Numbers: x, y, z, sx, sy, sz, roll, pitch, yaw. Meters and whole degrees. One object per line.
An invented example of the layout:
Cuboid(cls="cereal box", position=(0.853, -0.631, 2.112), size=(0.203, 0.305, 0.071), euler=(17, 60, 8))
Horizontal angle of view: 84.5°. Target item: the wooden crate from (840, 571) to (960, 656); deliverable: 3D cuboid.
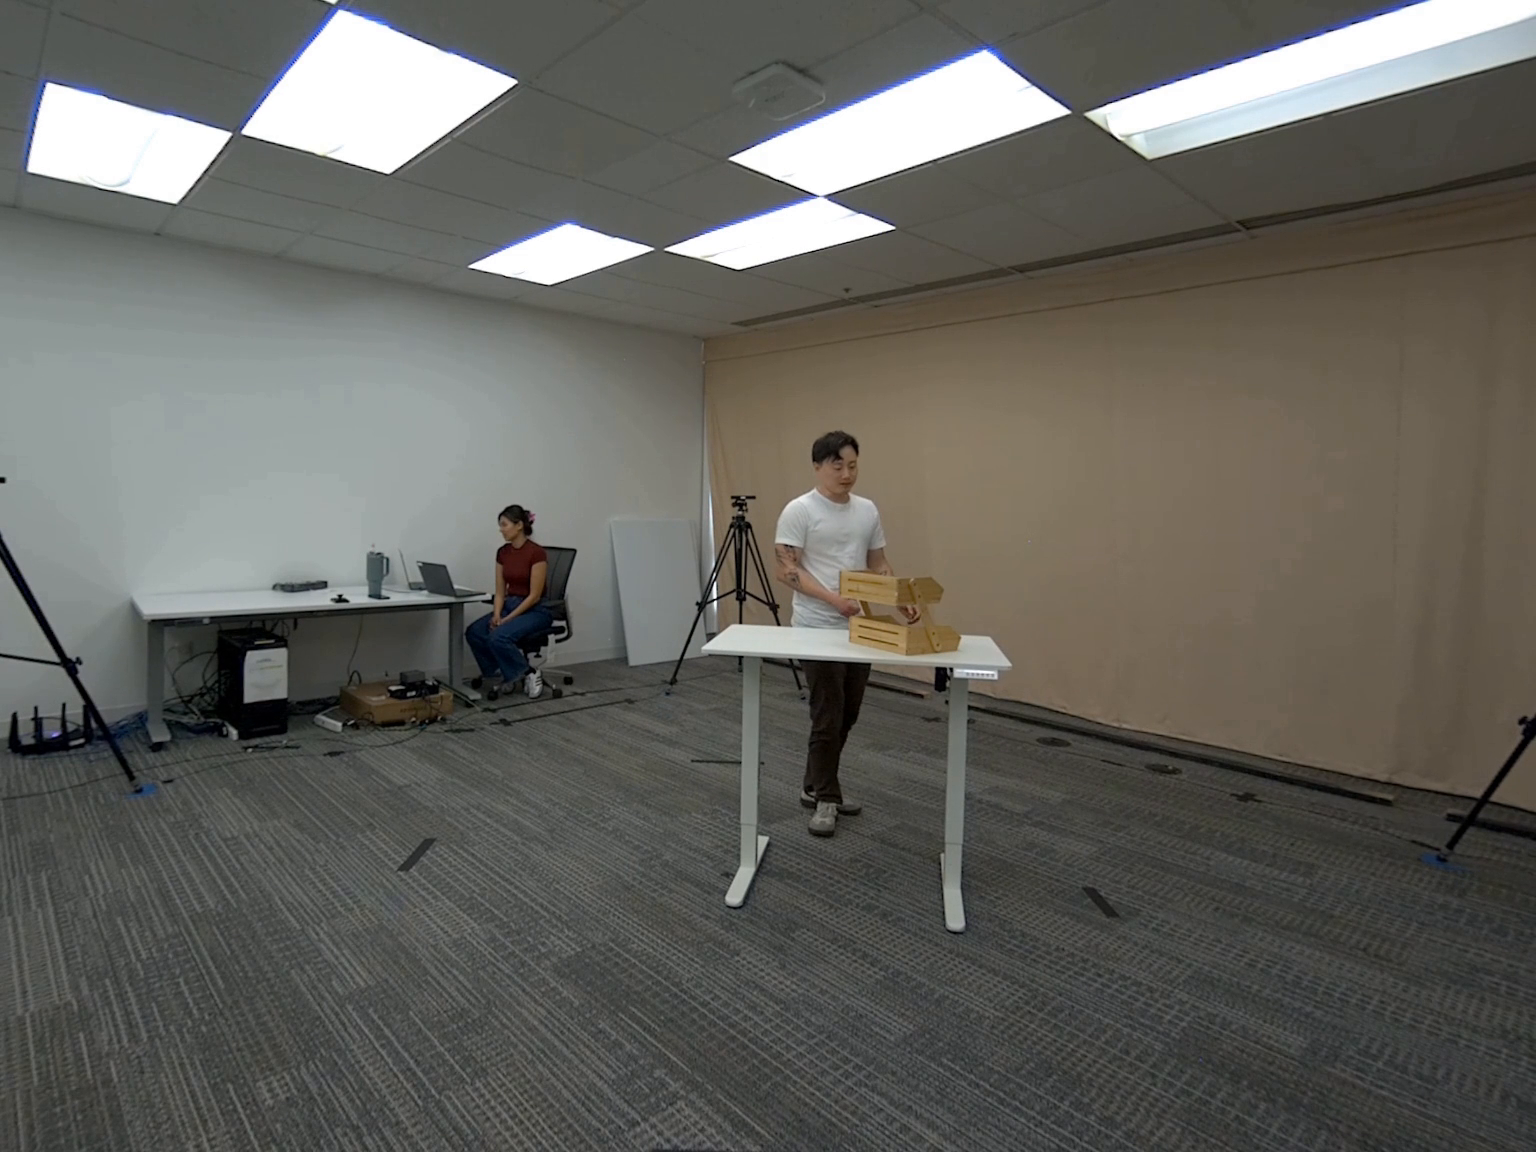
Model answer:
Cuboid(cls="wooden crate", position=(0.452, 0.116, 2.949), size=(0.296, 0.272, 0.332), euler=(-2, 5, -33))
